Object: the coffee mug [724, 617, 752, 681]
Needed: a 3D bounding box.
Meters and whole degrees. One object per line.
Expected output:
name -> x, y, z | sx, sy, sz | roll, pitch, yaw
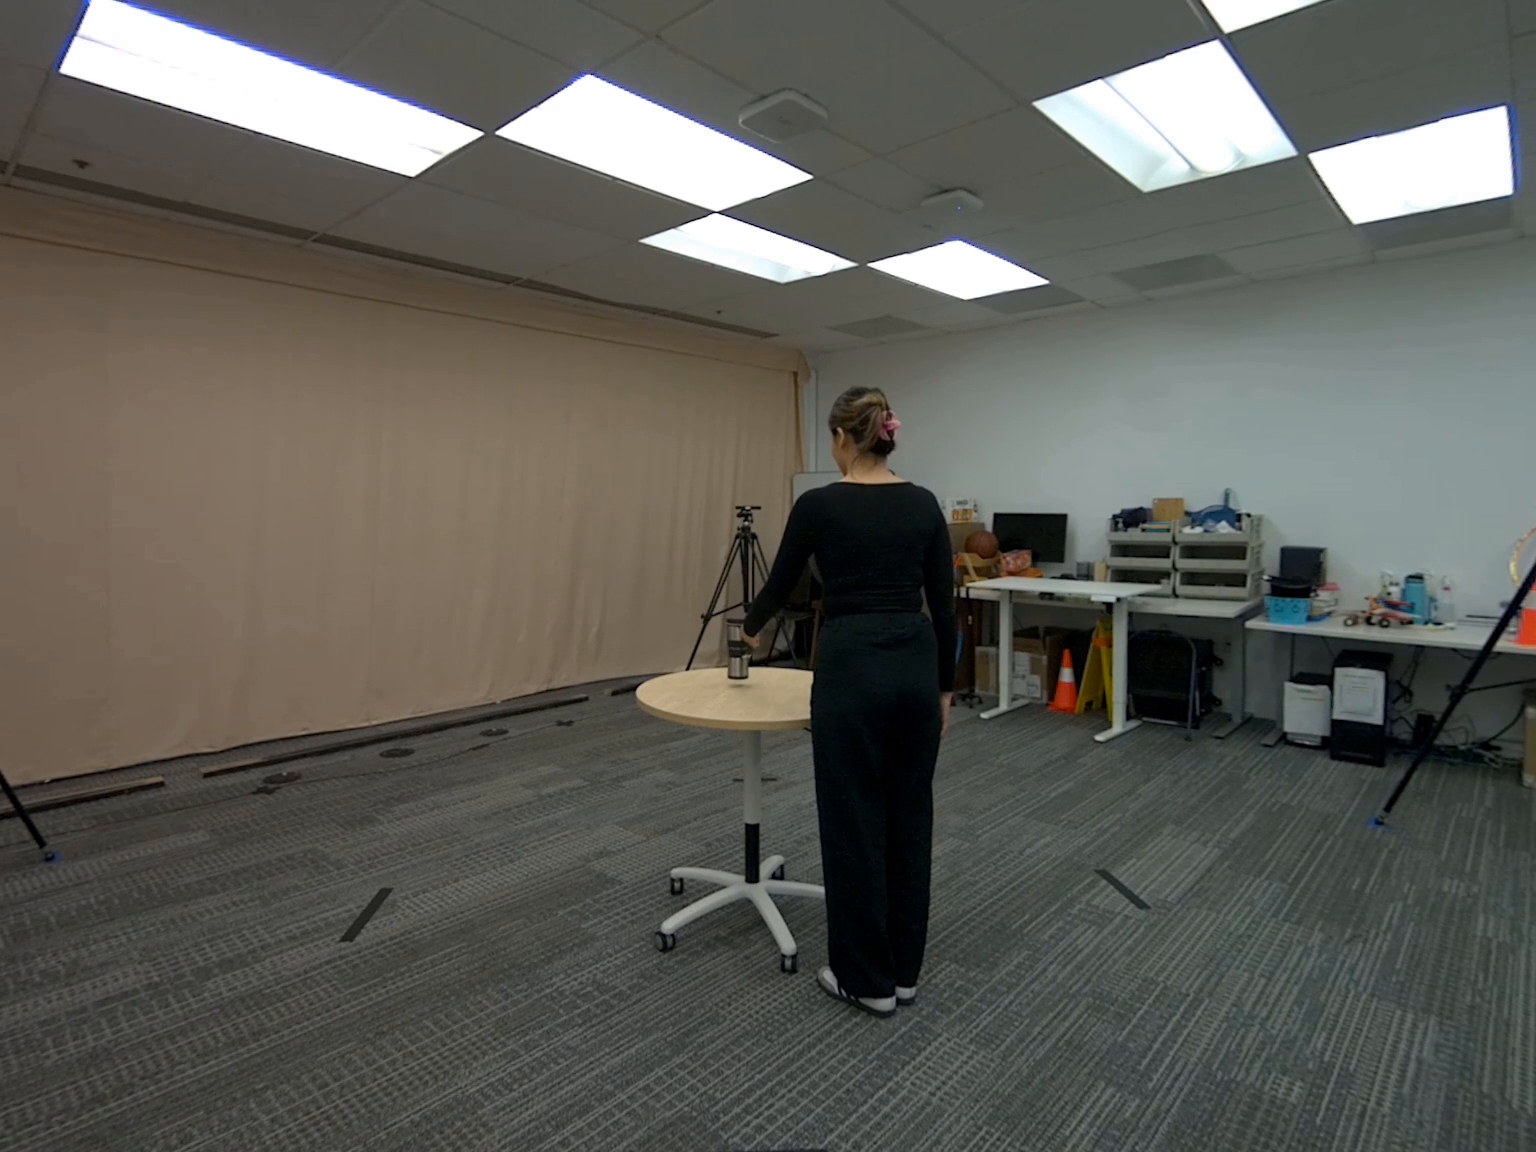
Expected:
coffee mug -> -0.101, 0.243, 2.814 | 0.089, 0.203, 0.120 | 5, -1, 13
